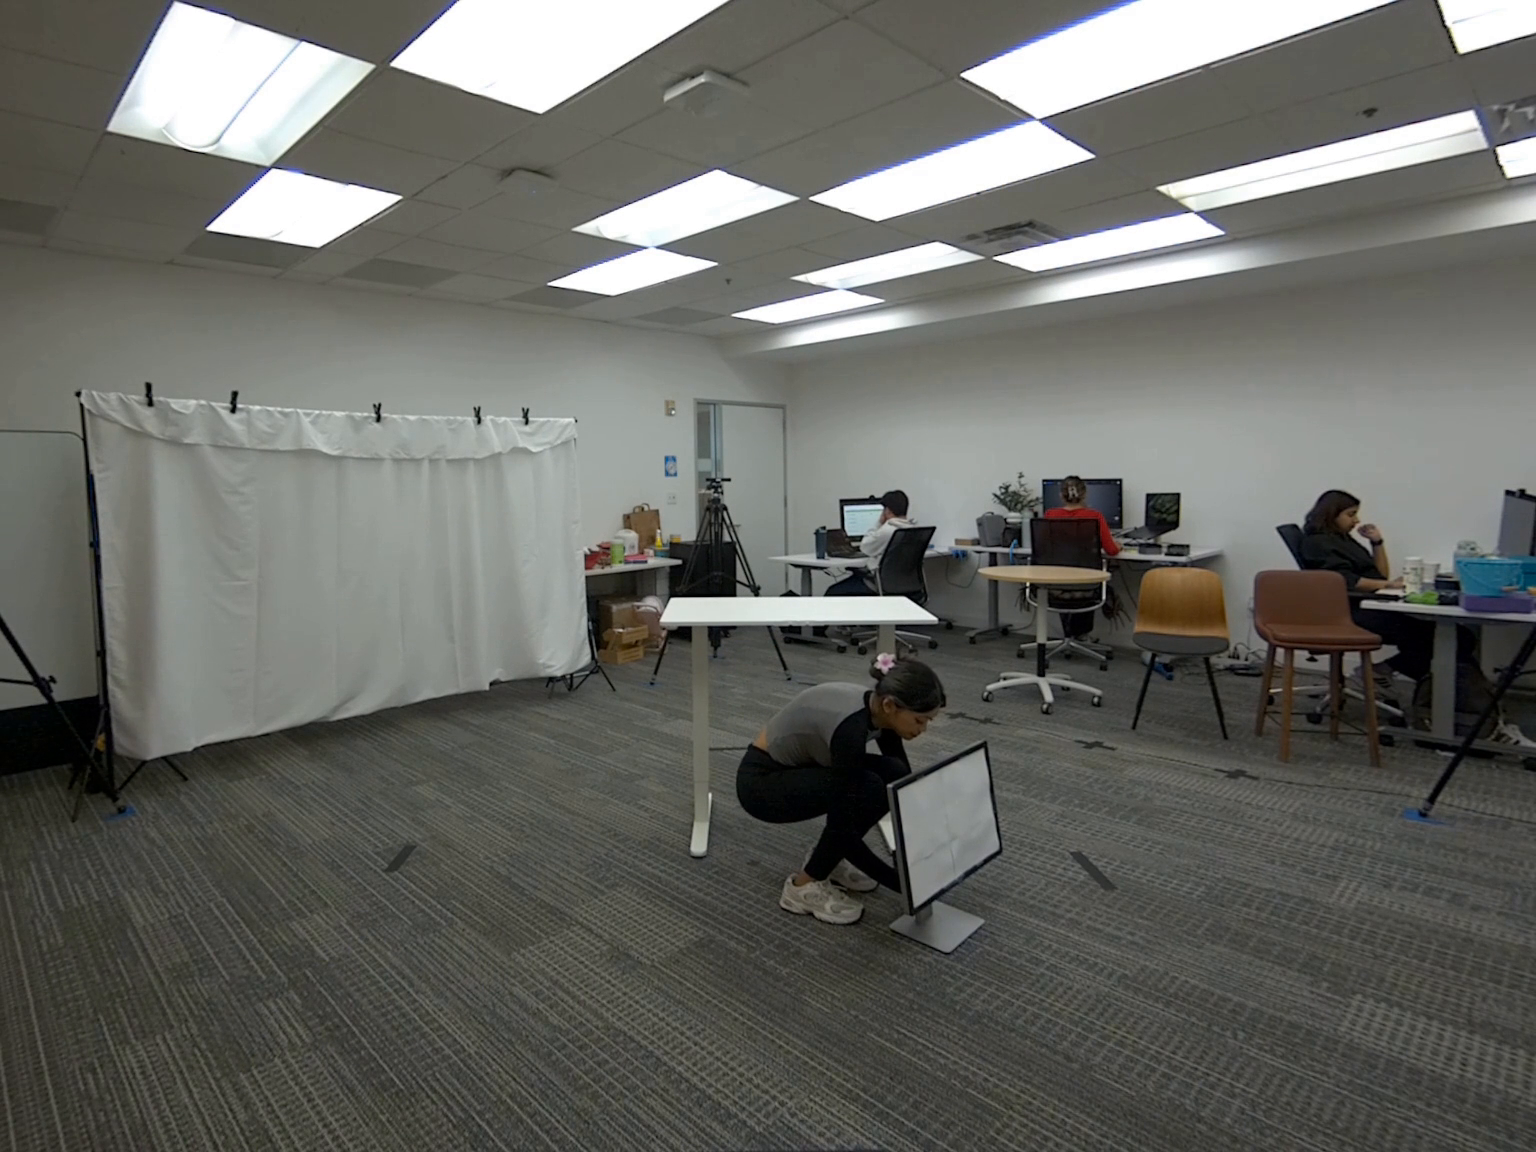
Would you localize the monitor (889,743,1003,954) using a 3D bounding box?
[{"bbox_3d":[0.523,0.827,2.625,0.193,0.520,0.525,3,6,41],"label":"monitor"}]
